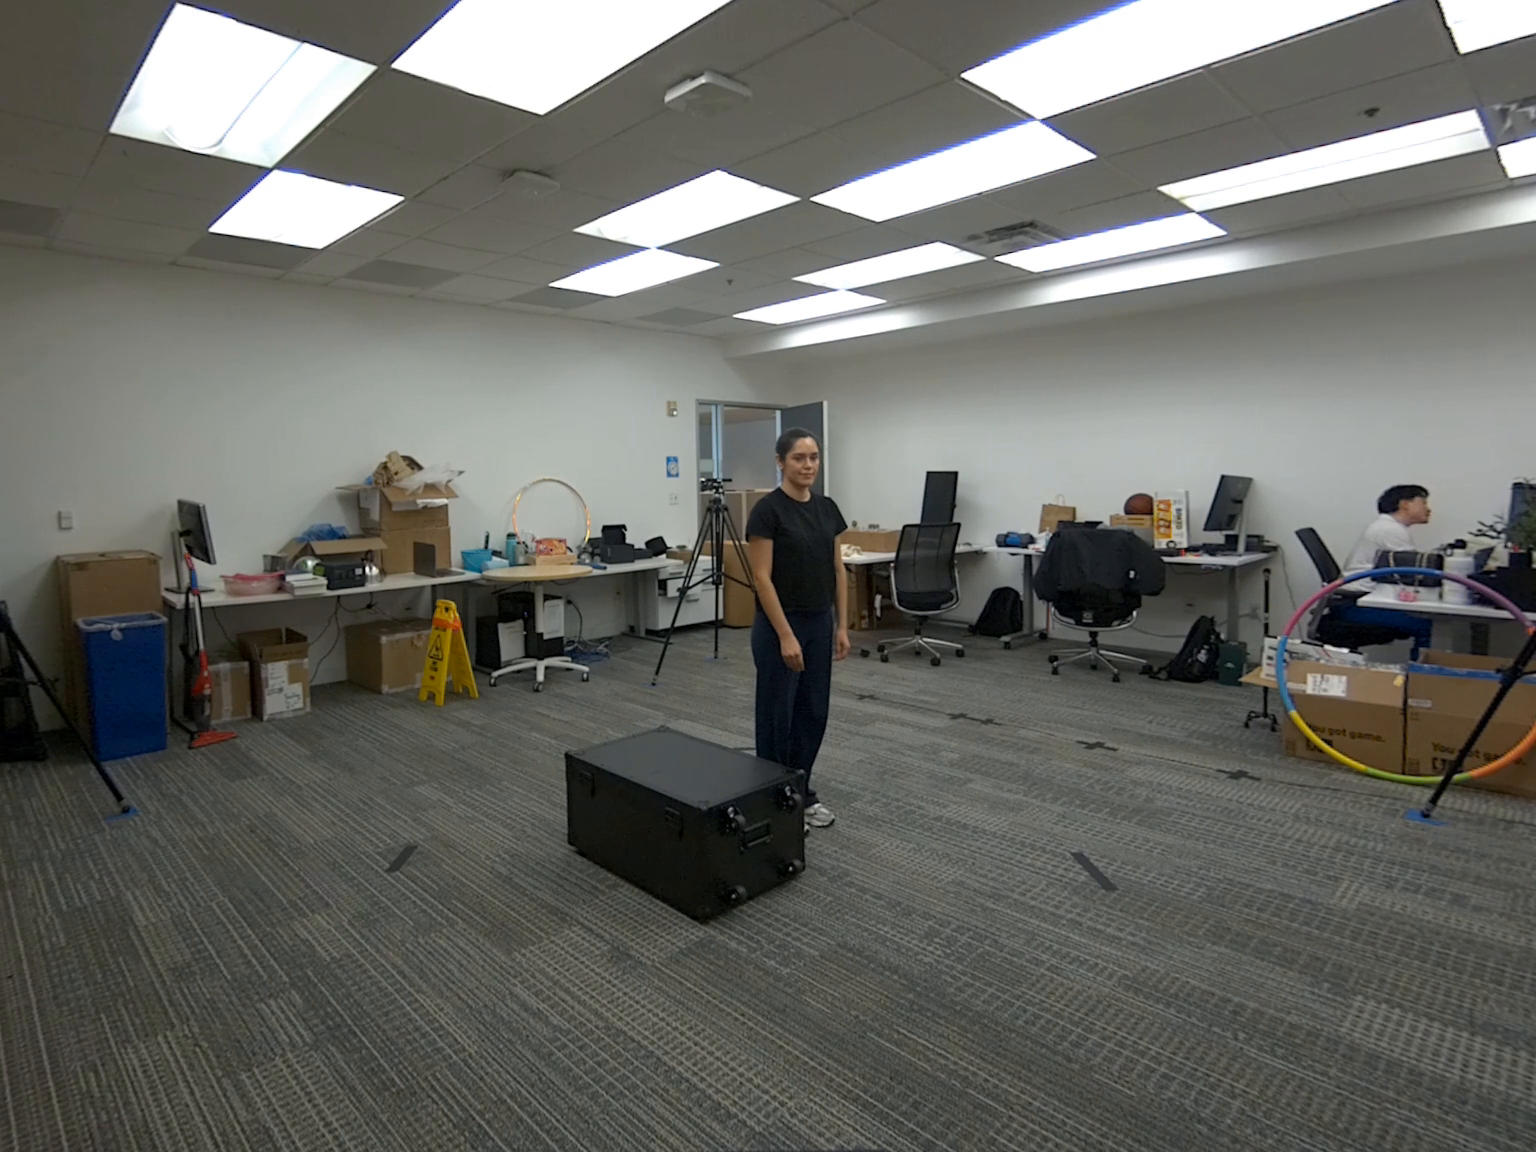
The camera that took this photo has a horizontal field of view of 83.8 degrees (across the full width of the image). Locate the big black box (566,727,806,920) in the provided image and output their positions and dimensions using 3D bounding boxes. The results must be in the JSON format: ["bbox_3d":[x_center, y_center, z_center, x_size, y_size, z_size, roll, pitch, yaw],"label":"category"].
[{"bbox_3d":[-0.298,0.861,3.091,0.888,0.395,0.508,4,7,45],"label":"big black box"}]
